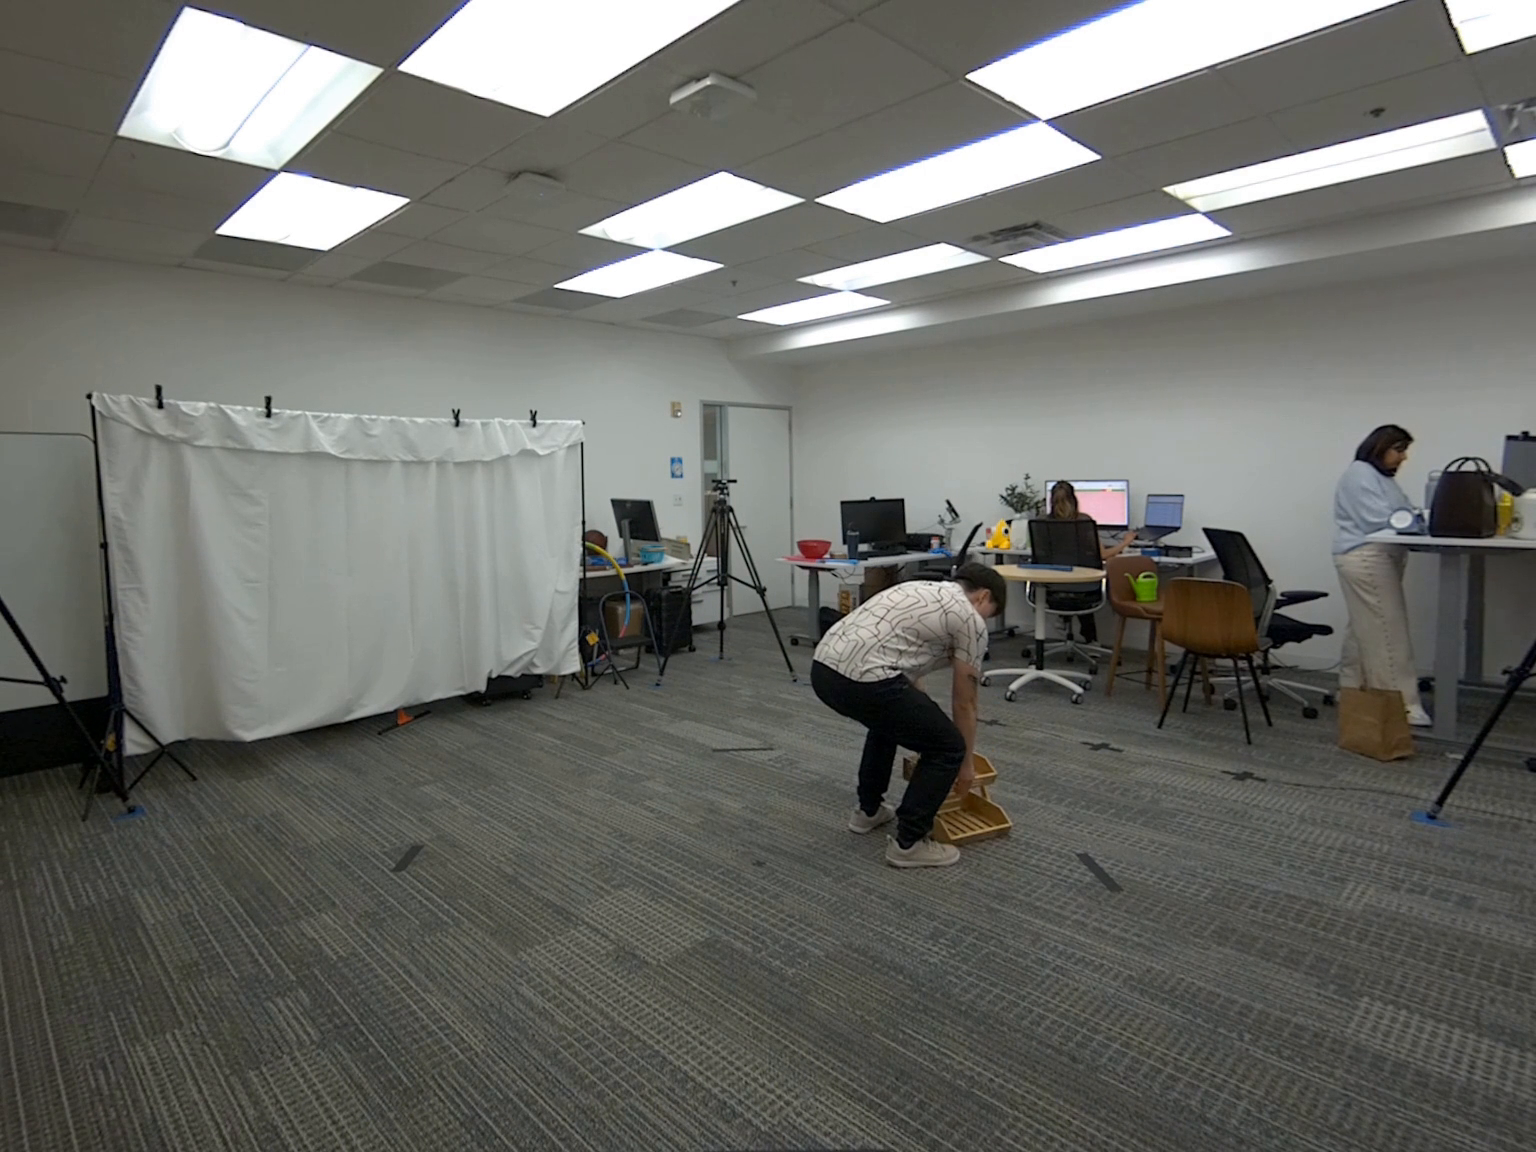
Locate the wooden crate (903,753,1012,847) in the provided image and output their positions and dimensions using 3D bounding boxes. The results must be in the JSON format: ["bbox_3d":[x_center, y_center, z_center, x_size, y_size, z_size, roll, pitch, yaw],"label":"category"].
[{"bbox_3d":[0.759,0.873,3.365,0.318,0.272,0.310,-2,7,-25],"label":"wooden crate"}]
